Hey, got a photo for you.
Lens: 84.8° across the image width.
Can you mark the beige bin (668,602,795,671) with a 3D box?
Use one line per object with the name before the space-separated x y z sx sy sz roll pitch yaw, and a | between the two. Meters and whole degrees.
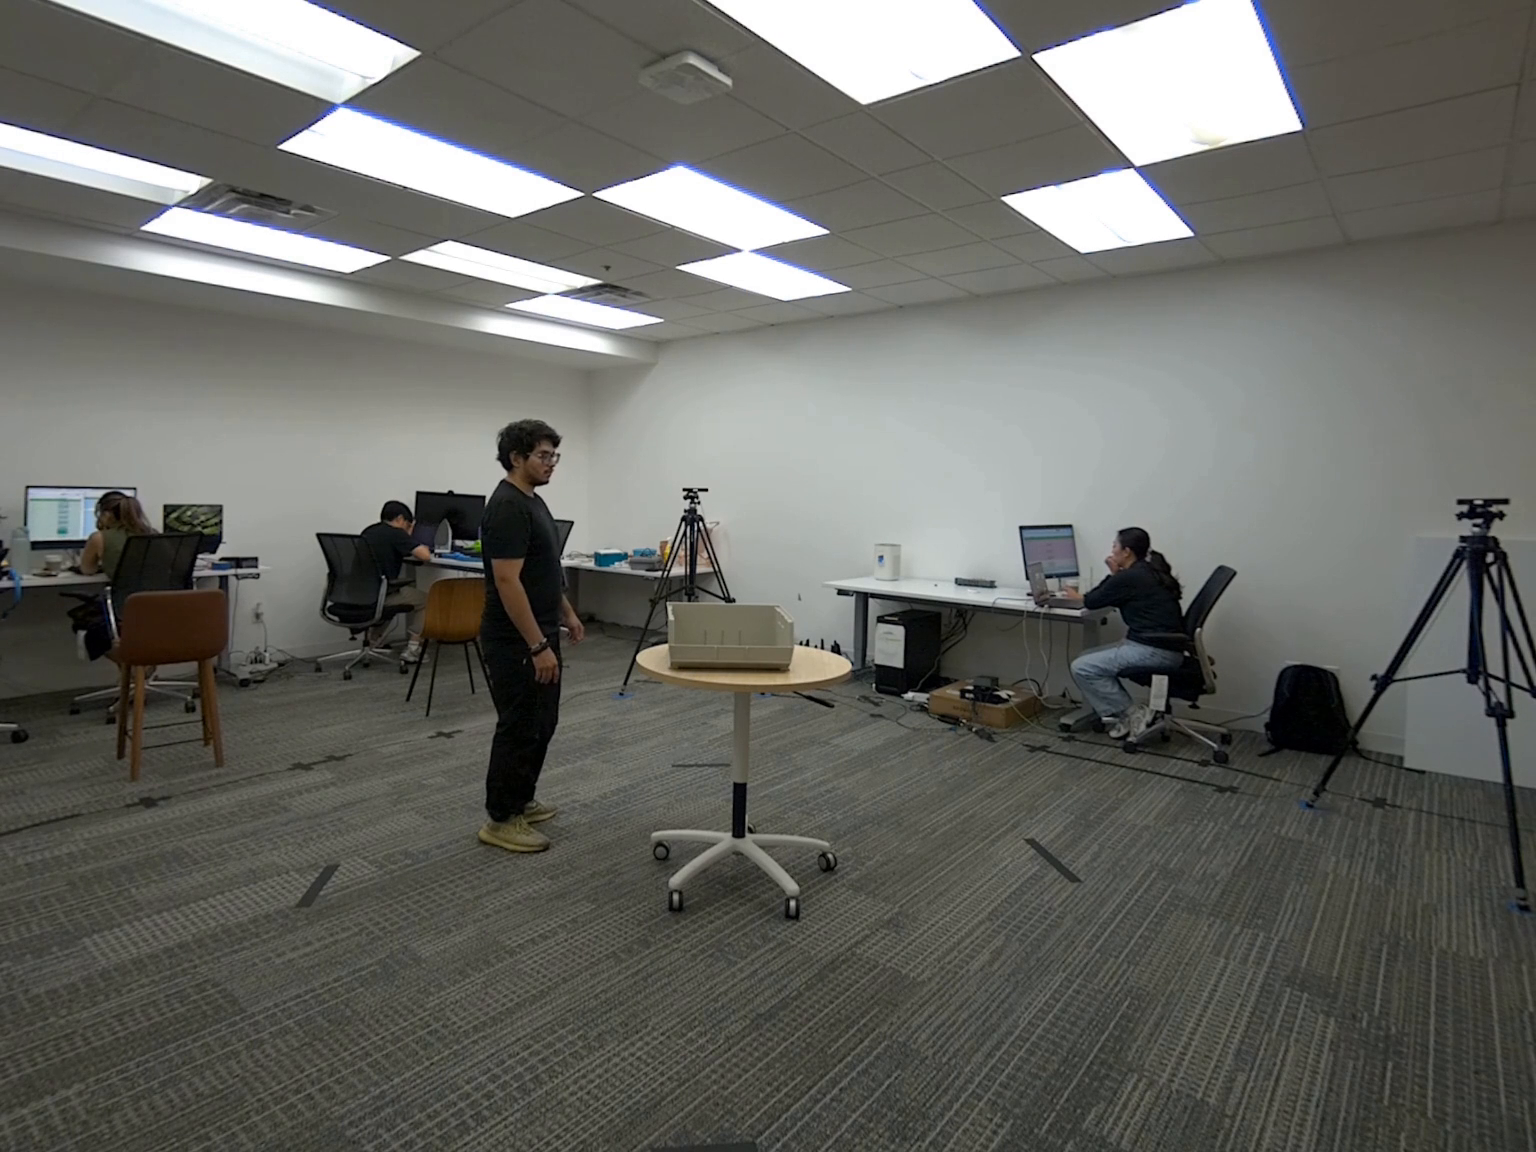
beige bin | -0.146 0.216 2.976 0.419 0.188 0.381 1 4 -7
